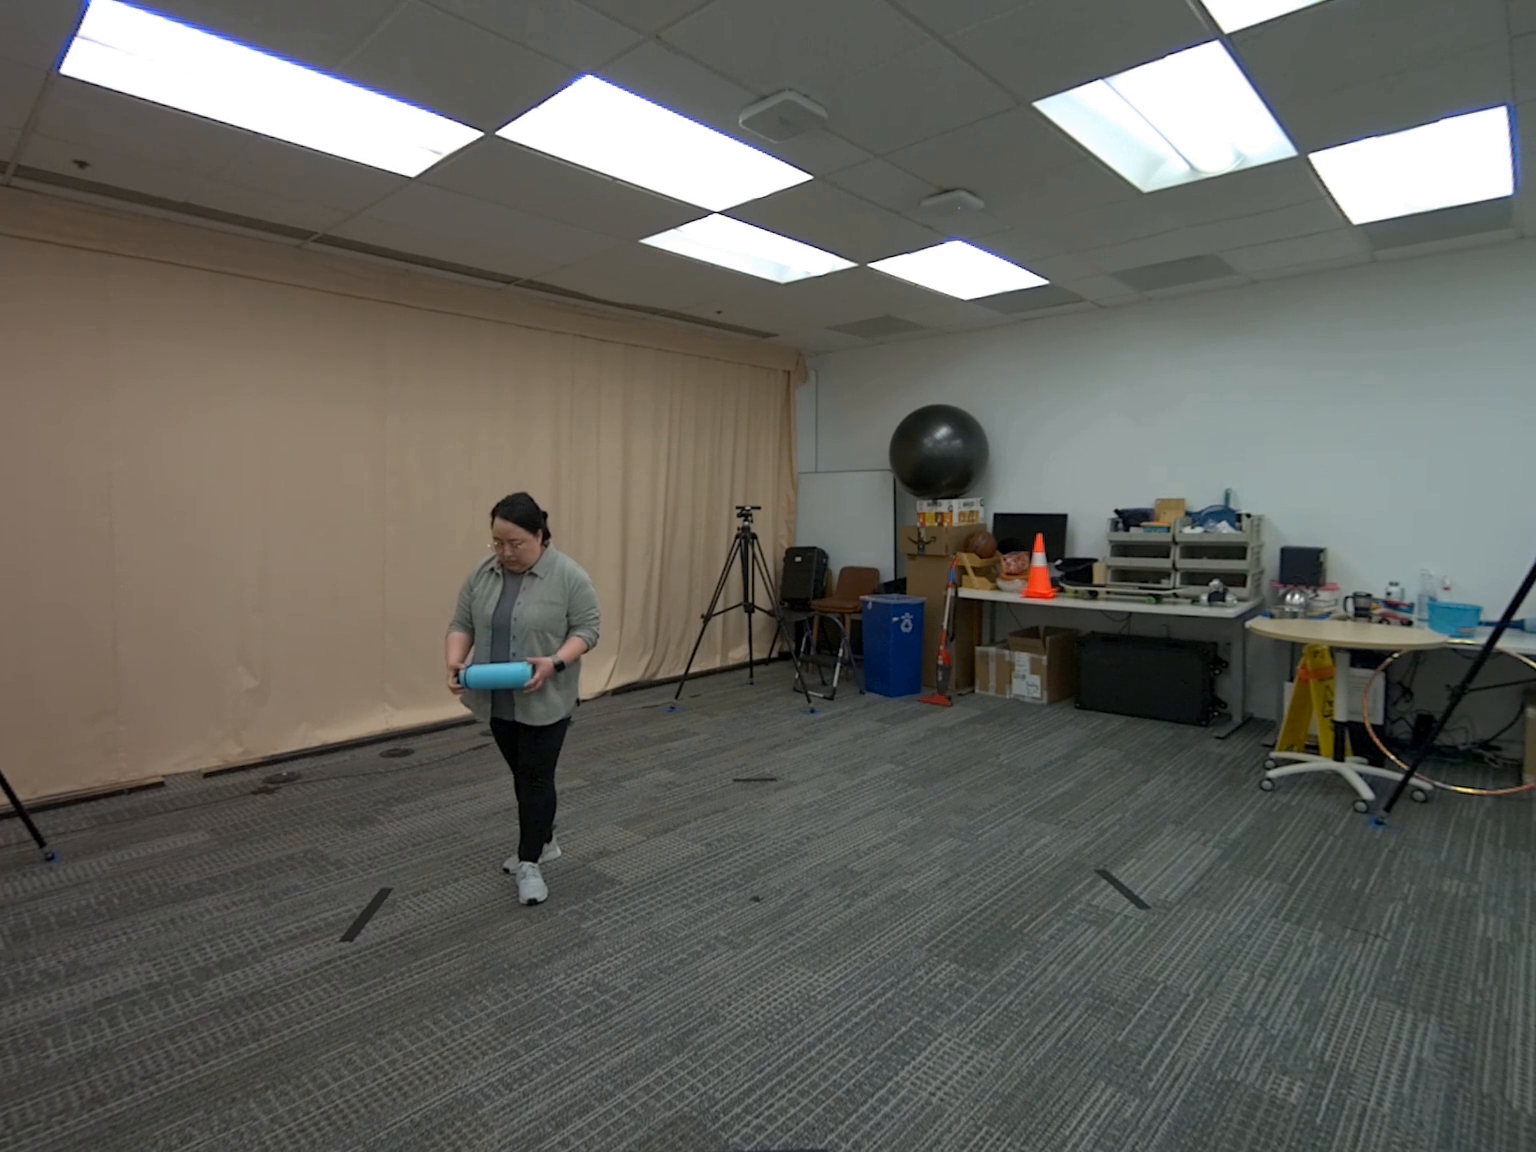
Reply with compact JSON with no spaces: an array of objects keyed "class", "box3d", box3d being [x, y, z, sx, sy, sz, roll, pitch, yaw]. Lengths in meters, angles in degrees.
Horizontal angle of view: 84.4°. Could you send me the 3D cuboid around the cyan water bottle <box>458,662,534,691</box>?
[{"class":"cyan water bottle","box3d":[-0.954,0.352,2.950,0.285,0.092,0.092,-4,3,5]}]
